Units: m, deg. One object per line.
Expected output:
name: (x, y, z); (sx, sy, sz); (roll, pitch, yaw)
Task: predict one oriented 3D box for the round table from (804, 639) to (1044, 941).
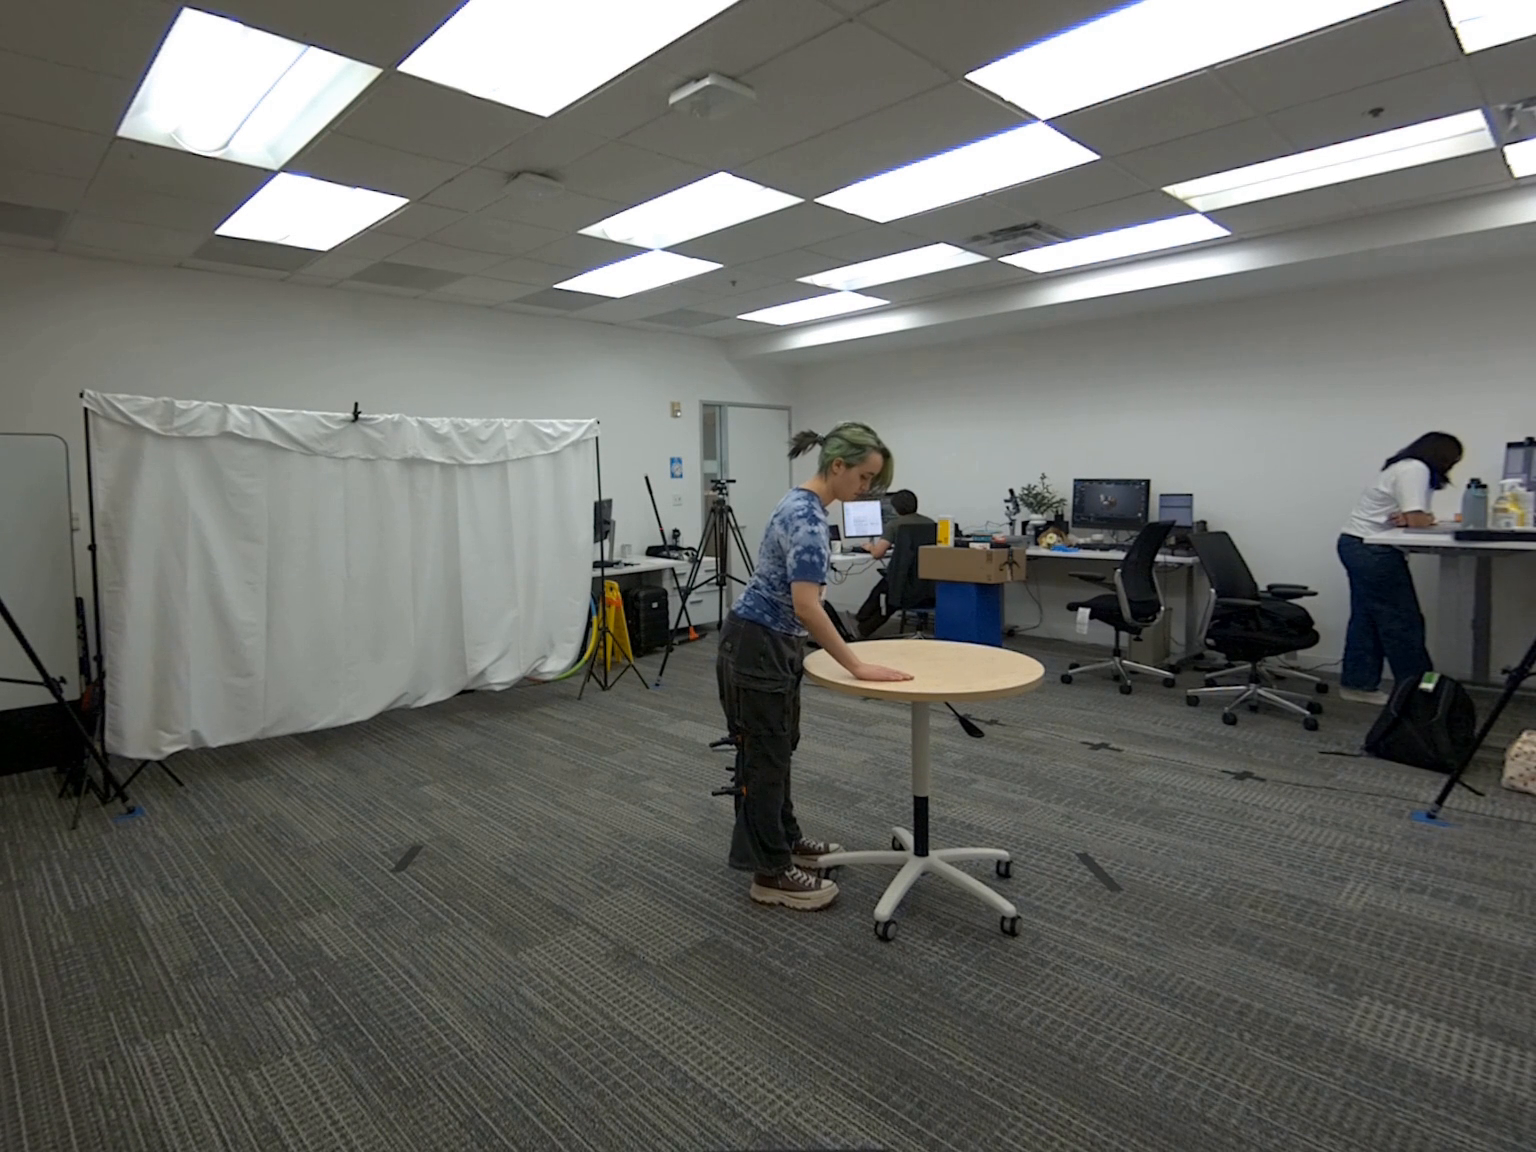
round table: (0.495, 0.673, 2.818); (0.784, 0.783, 0.789); (-1, 5, -2)
